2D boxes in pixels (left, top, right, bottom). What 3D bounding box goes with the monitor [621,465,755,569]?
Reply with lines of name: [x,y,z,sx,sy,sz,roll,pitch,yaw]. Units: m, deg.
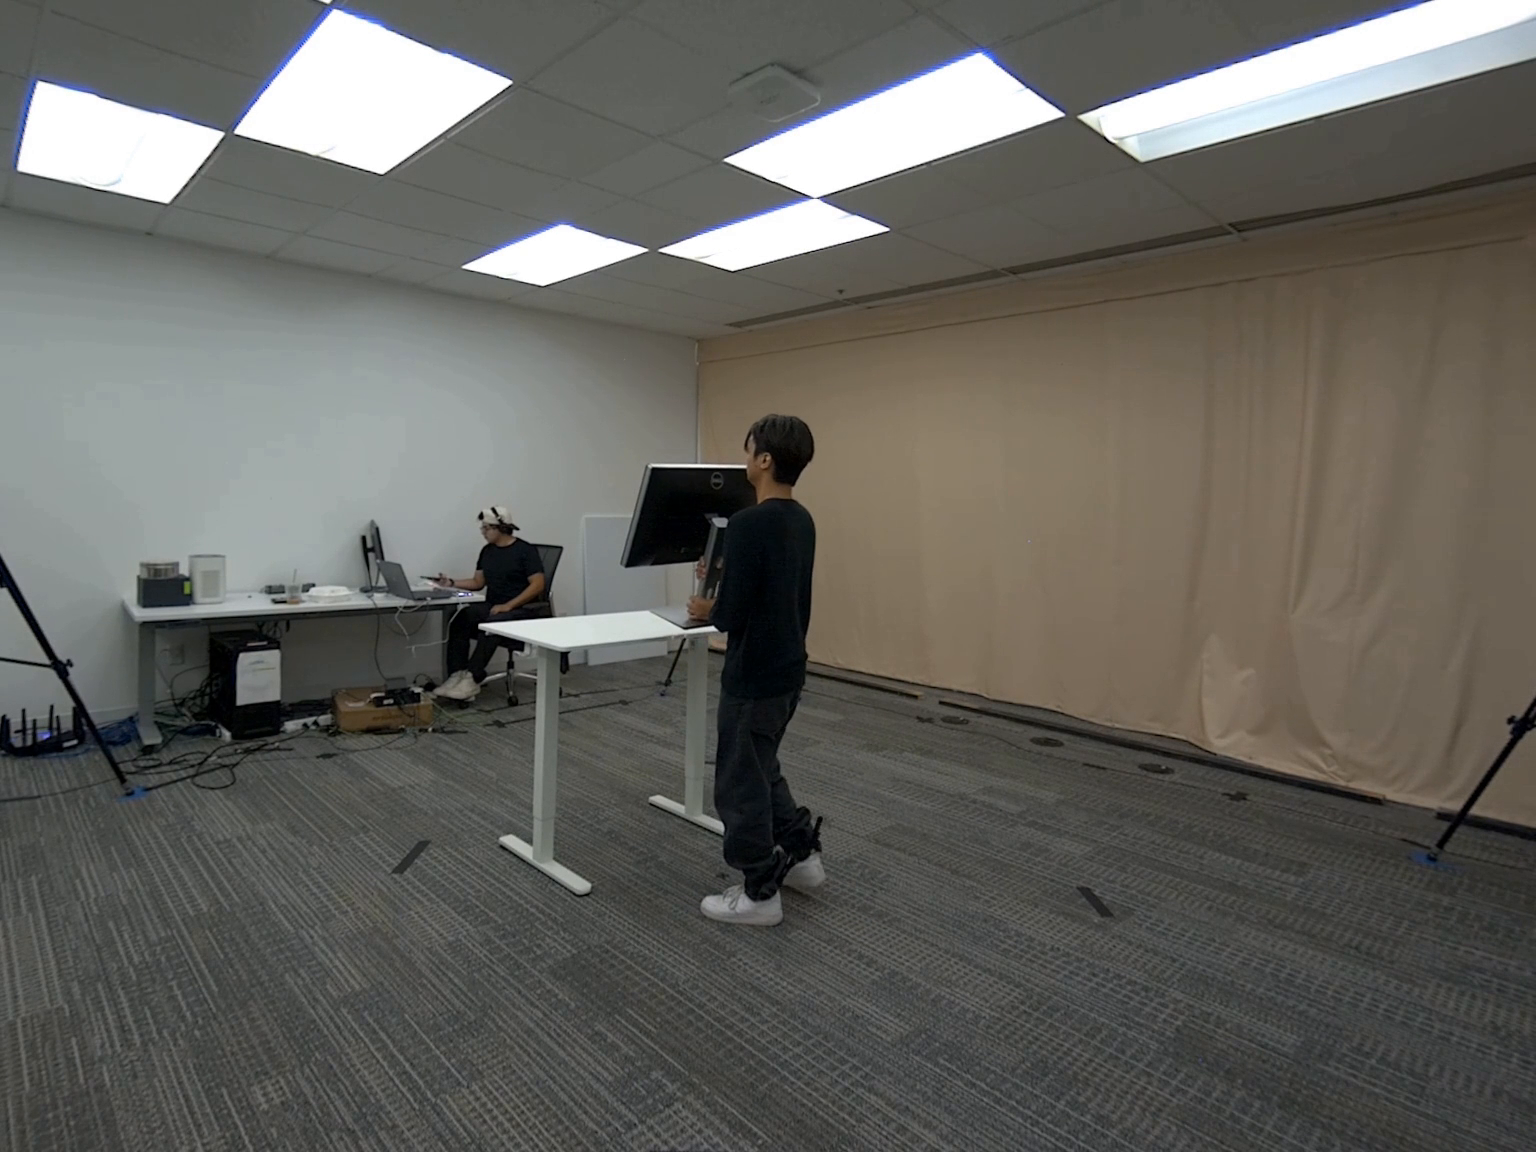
monitor: [-0.230,-0.118,2.893,0.179,0.512,0.519,12,14,43]
